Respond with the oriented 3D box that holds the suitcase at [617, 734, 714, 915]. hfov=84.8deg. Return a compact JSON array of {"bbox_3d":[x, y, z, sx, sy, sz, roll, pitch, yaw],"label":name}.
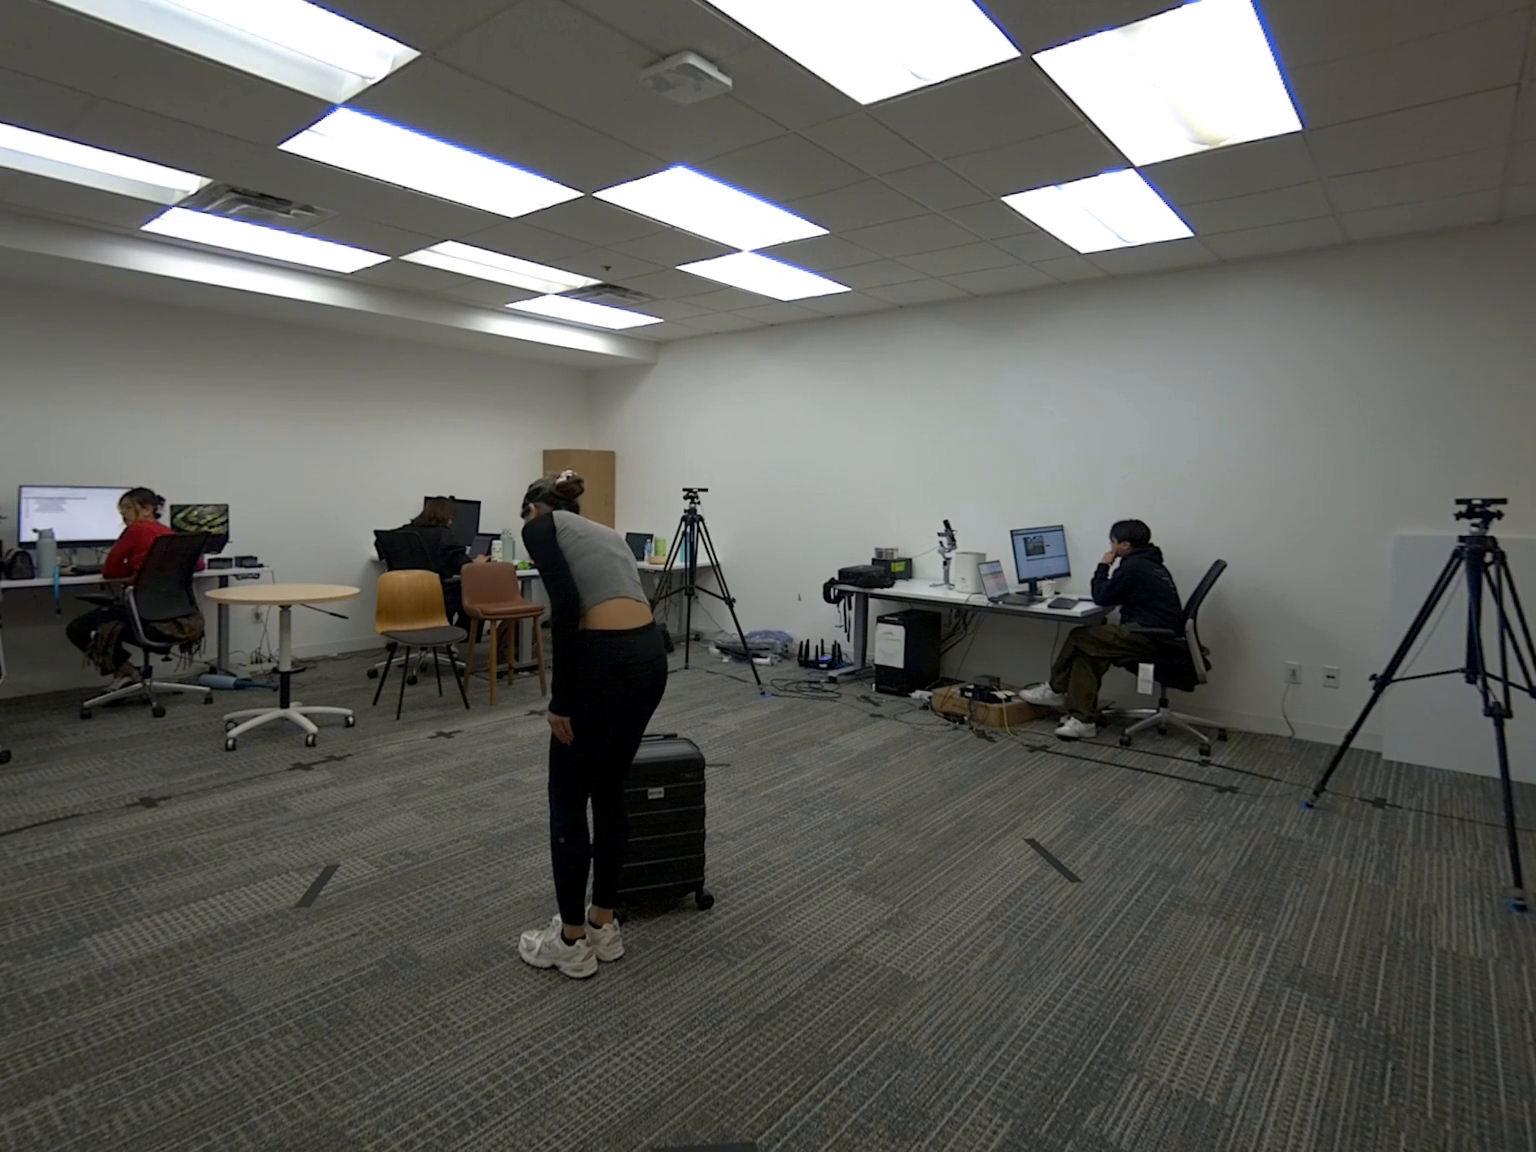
[{"bbox_3d":[-0.404,0.813,2.850,0.367,0.548,0.254,0,3,-22],"label":"suitcase"}]
